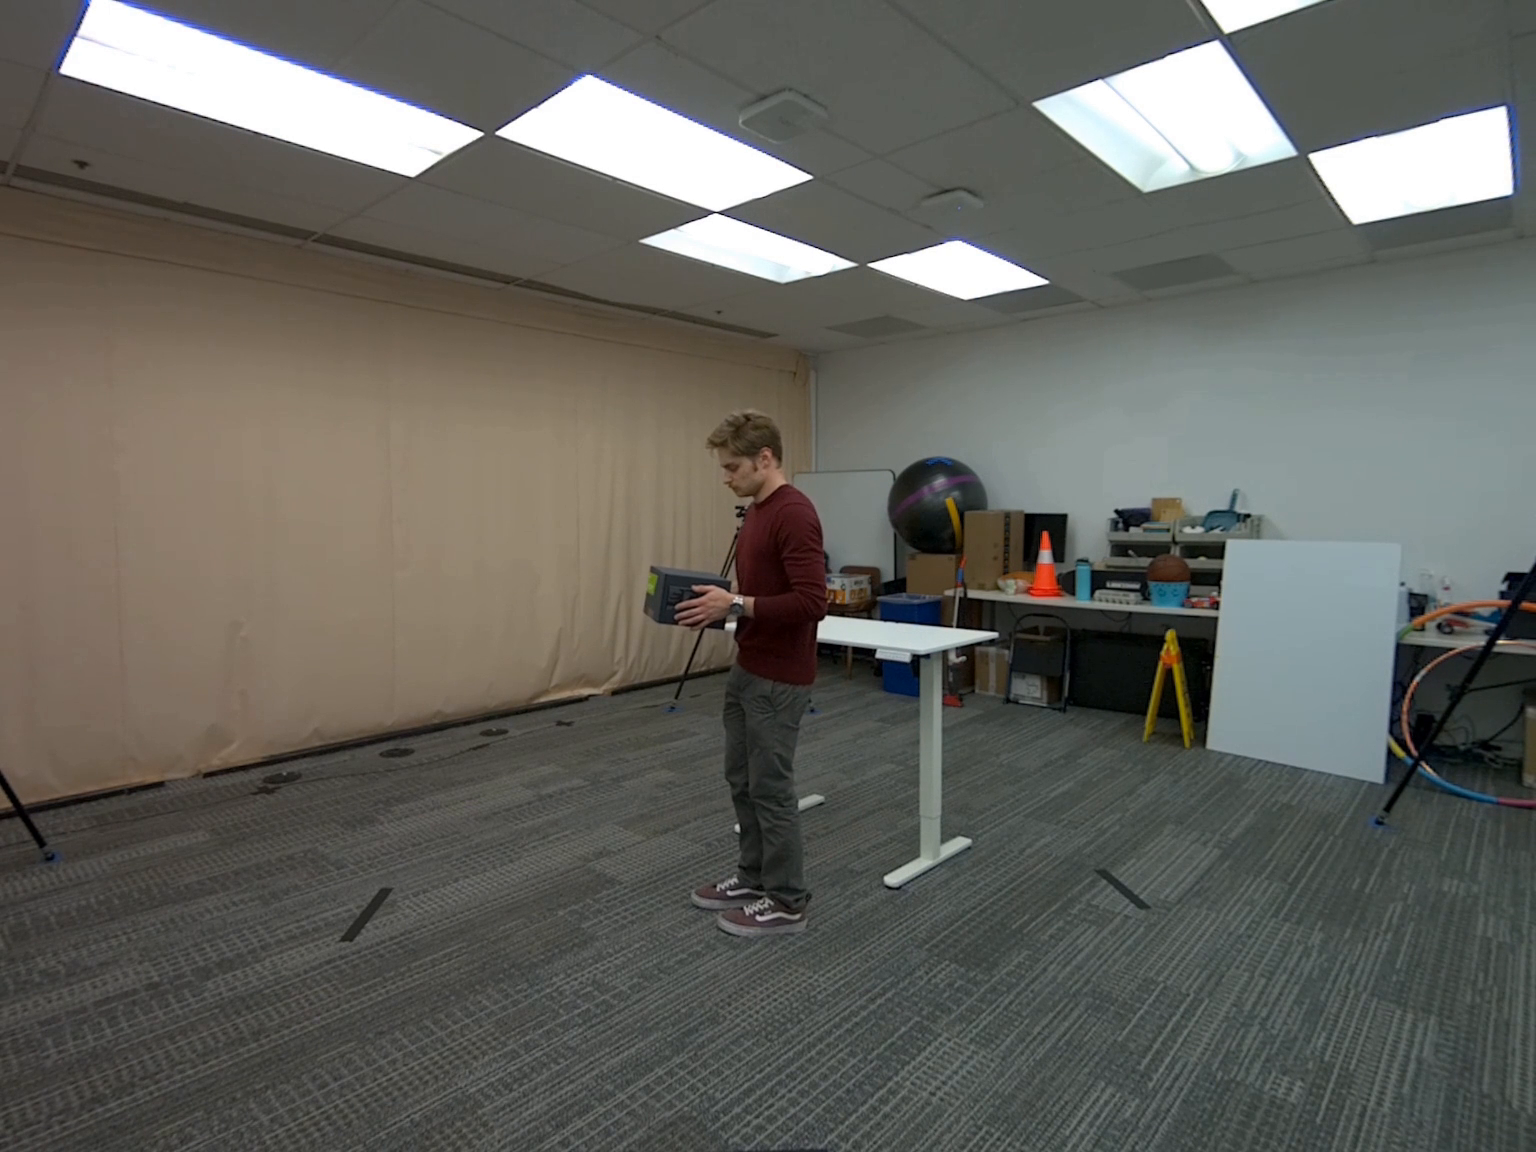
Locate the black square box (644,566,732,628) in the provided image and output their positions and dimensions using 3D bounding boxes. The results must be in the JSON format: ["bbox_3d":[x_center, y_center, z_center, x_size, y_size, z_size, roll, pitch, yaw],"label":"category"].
[{"bbox_3d":[-0.263,0.068,2.685,0.213,0.156,0.232,7,4,-18],"label":"black square box"}]
